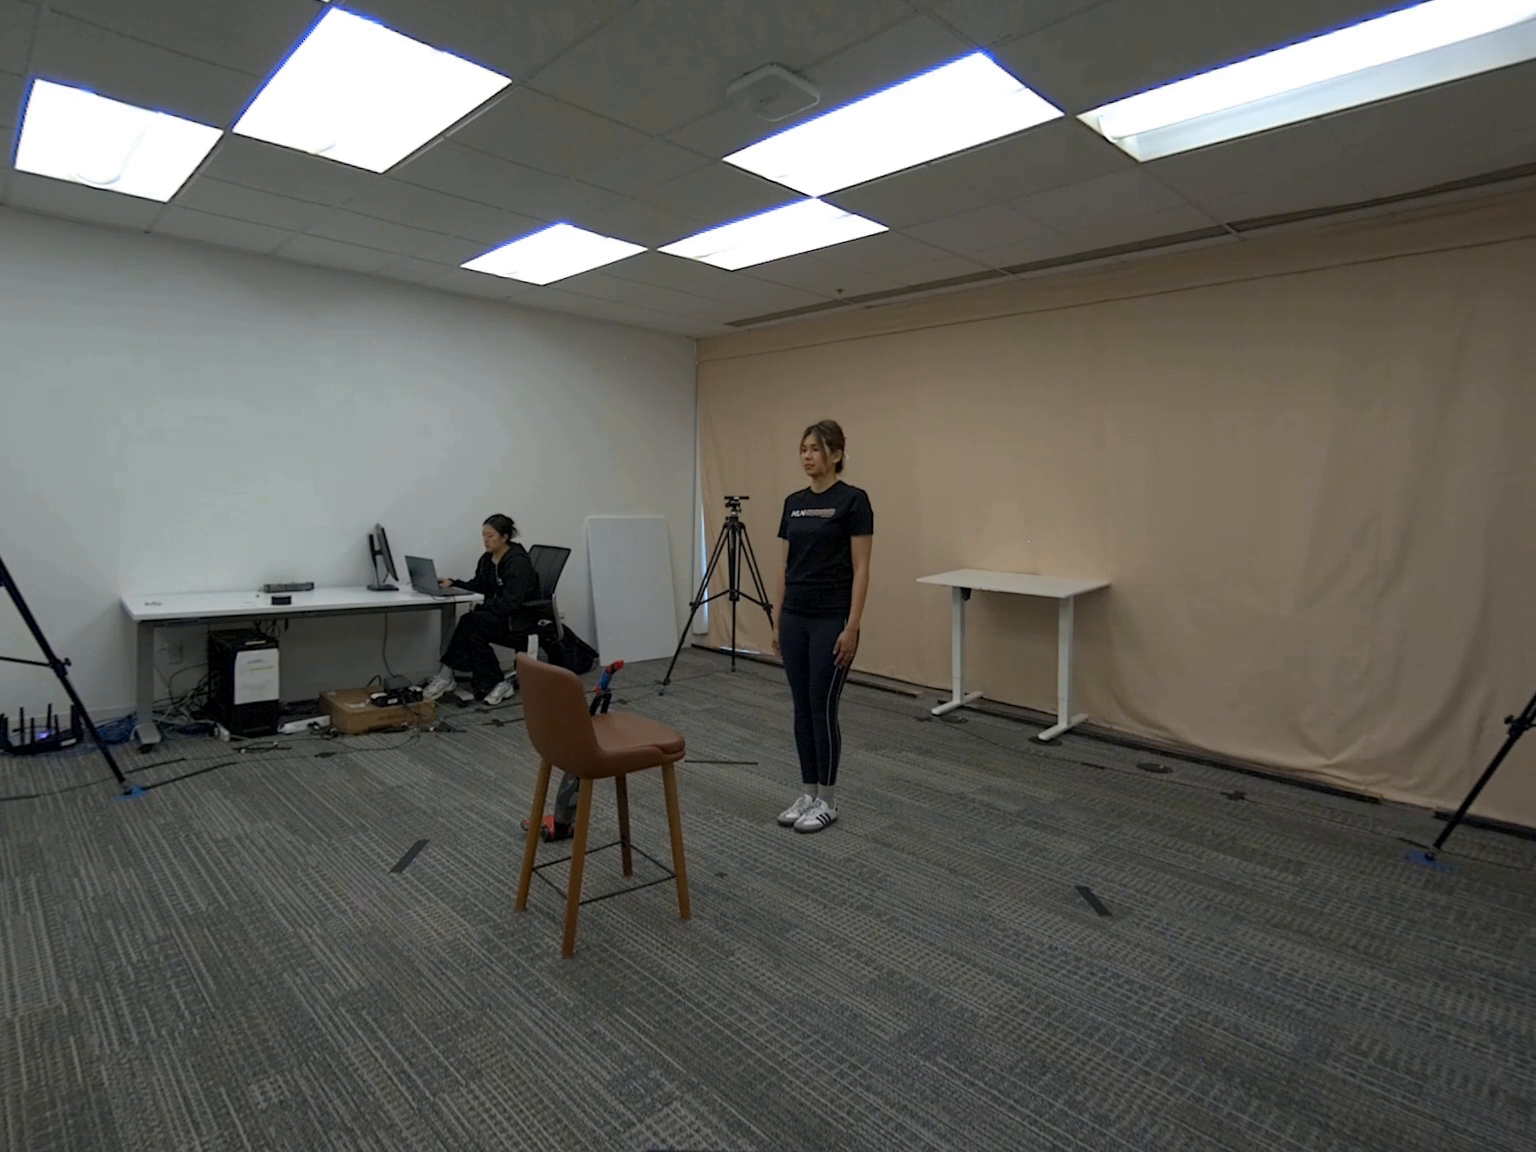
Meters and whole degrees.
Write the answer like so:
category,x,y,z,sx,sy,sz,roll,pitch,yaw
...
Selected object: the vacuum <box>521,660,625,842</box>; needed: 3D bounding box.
category,x,y,z,sx,sy,sz,roll,pitch,yaw
vacuum,-0.699,0.668,3.144,0.247,1.039,0.148,-5,47,-35
